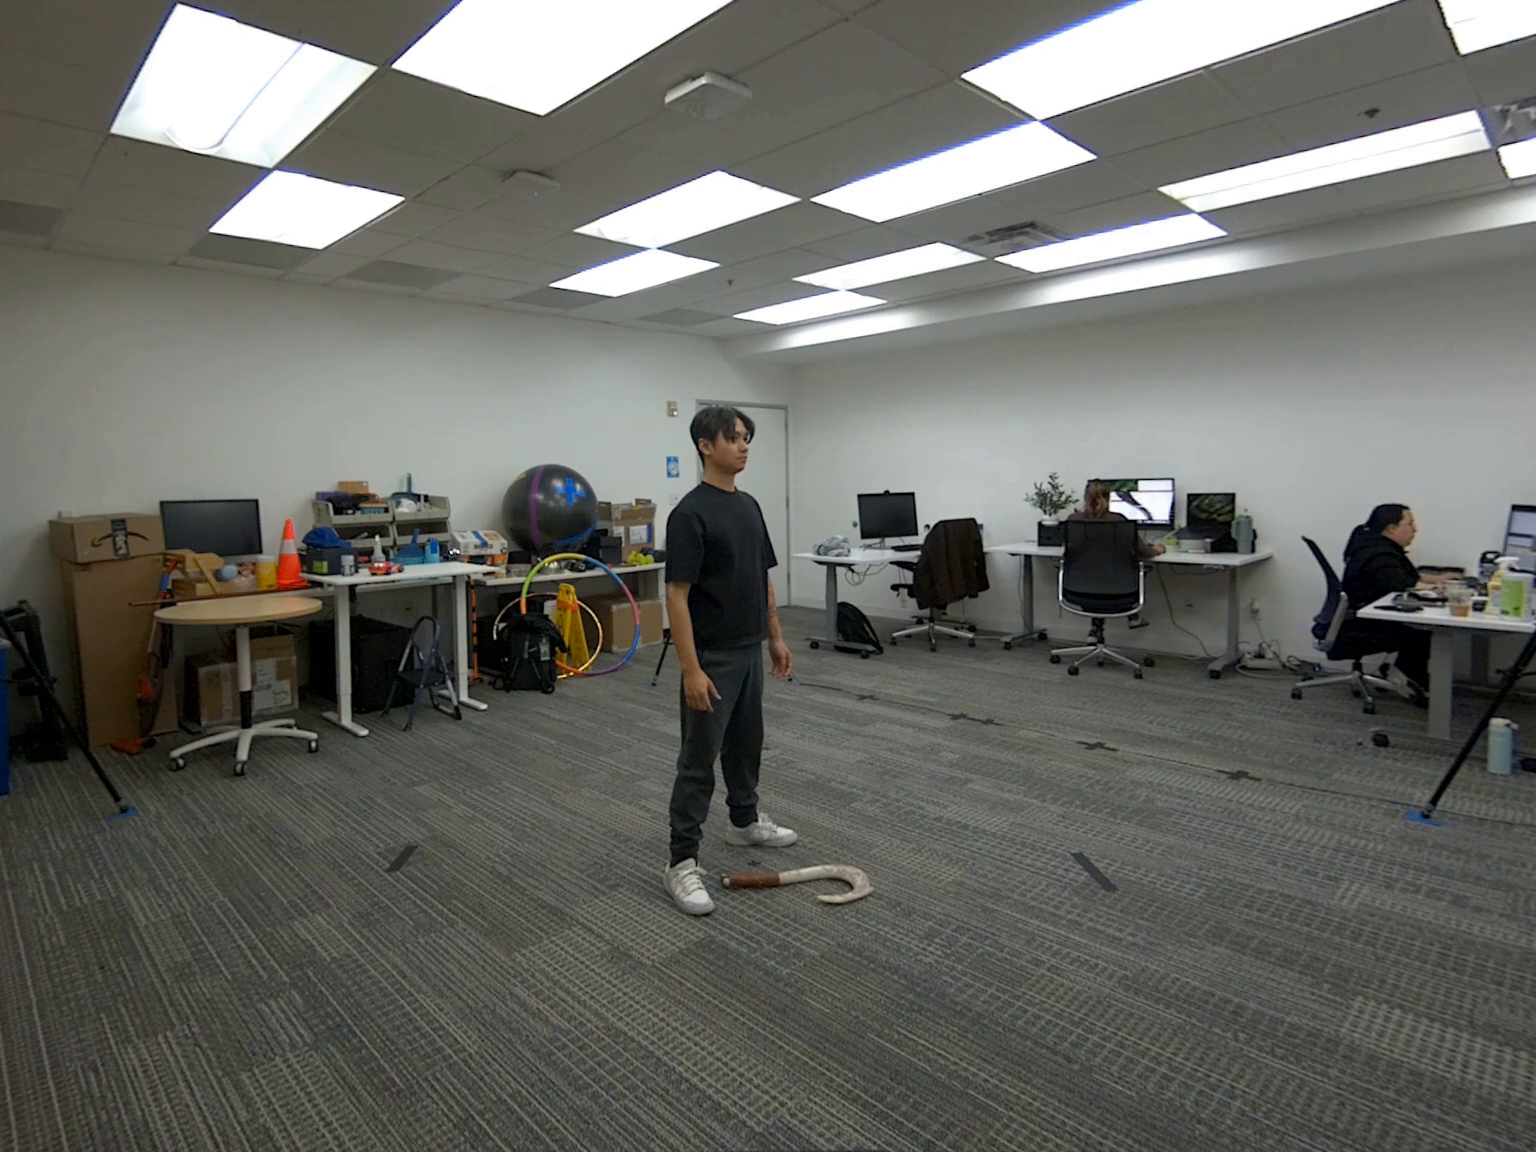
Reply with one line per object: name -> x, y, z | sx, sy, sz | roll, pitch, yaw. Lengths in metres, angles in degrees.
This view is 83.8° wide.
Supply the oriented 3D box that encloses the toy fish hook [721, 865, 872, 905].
toy fish hook -> 0.096, 1.038, 2.889 | 0.505, 0.048, 0.226 | -1, 3, -4
